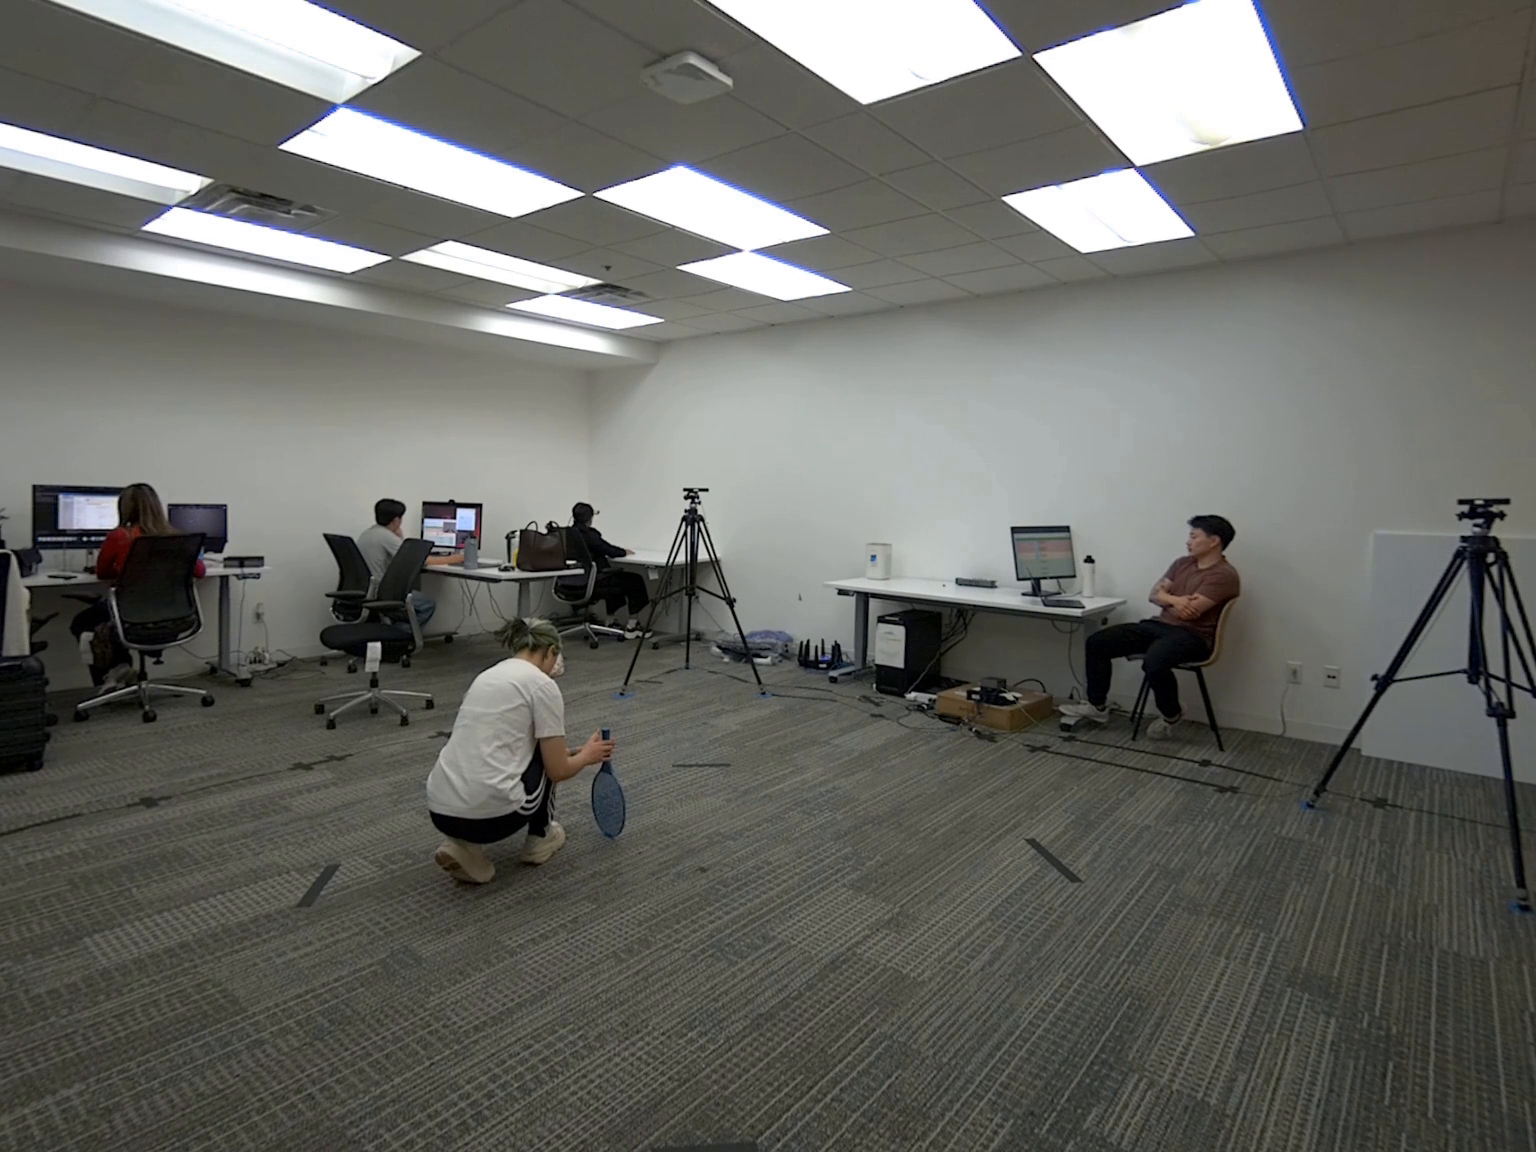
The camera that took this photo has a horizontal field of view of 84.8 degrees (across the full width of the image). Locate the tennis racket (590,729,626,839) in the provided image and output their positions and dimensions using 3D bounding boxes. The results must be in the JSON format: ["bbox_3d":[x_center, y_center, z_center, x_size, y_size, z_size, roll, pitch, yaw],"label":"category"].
[{"bbox_3d":[-0.651,0.824,3.381,0.220,0.433,0.031,-3,1,45],"label":"tennis racket"}]
